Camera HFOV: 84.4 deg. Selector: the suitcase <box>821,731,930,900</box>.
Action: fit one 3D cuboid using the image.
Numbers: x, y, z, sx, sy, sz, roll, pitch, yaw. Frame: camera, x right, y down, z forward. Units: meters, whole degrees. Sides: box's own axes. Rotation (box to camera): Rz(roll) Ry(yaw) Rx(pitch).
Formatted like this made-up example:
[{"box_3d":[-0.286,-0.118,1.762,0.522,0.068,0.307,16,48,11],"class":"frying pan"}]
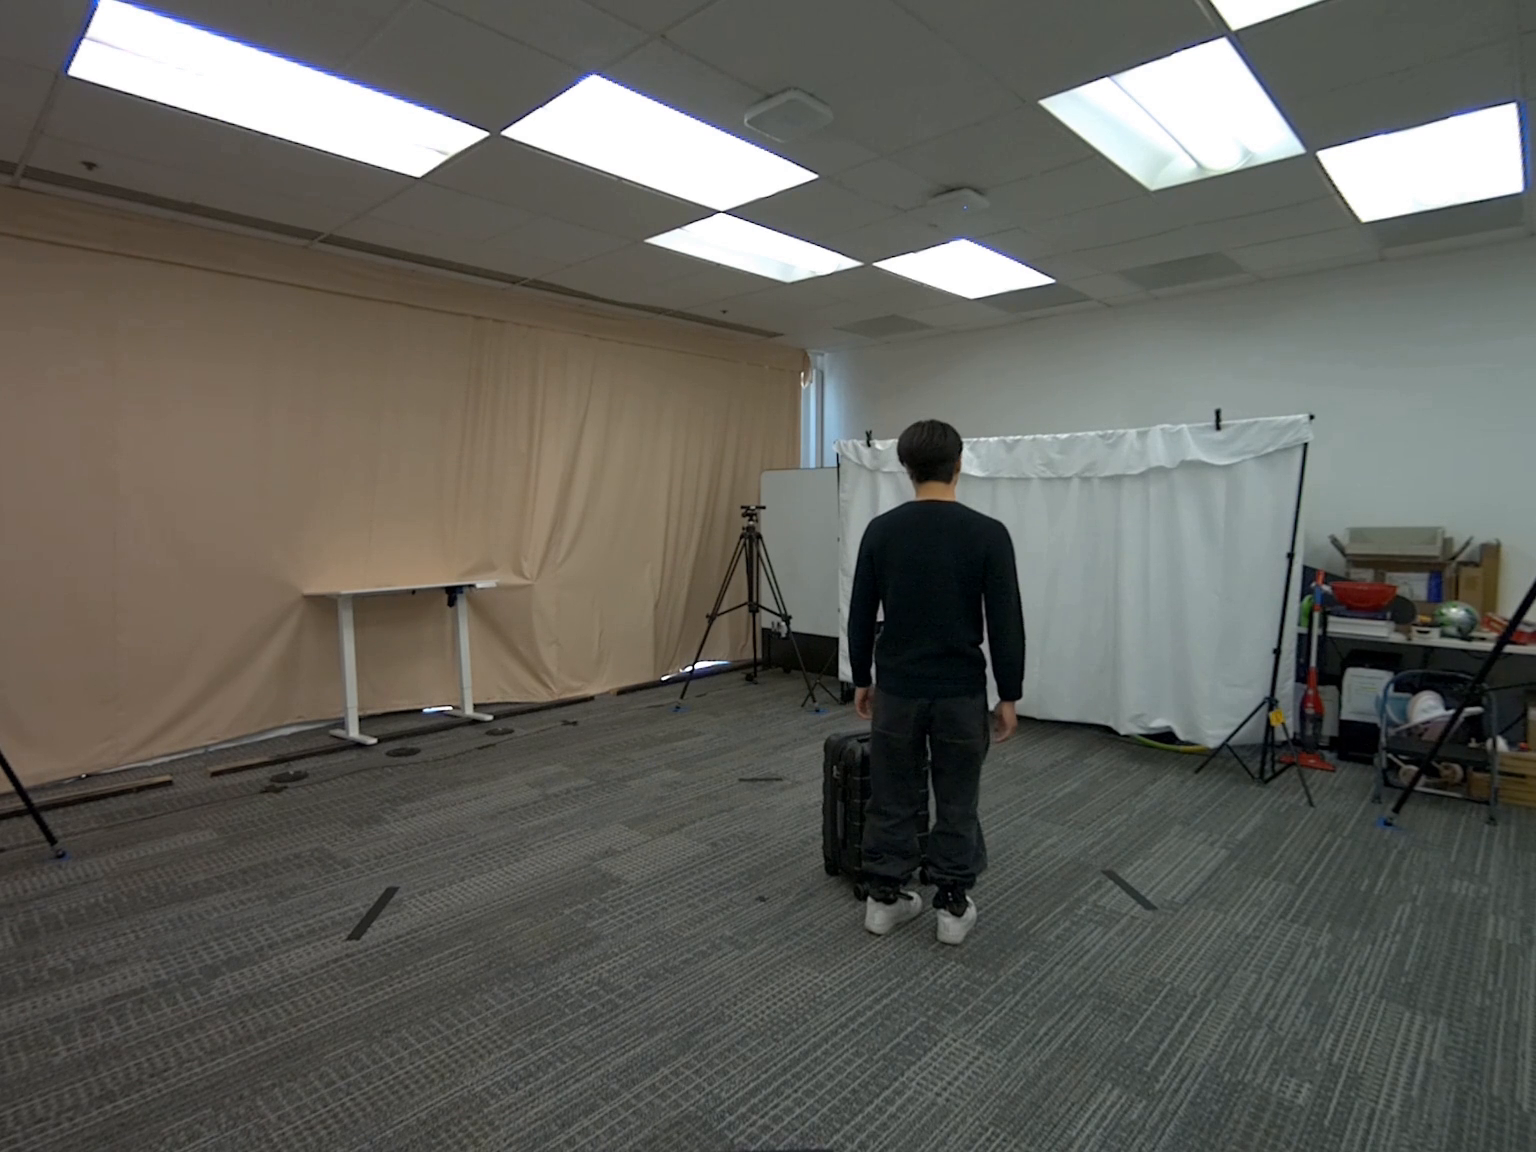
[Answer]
[{"box_3d":[0.406,0.653,3.143,0.376,0.978,0.263,-2,1,-23],"class":"suitcase"}]
